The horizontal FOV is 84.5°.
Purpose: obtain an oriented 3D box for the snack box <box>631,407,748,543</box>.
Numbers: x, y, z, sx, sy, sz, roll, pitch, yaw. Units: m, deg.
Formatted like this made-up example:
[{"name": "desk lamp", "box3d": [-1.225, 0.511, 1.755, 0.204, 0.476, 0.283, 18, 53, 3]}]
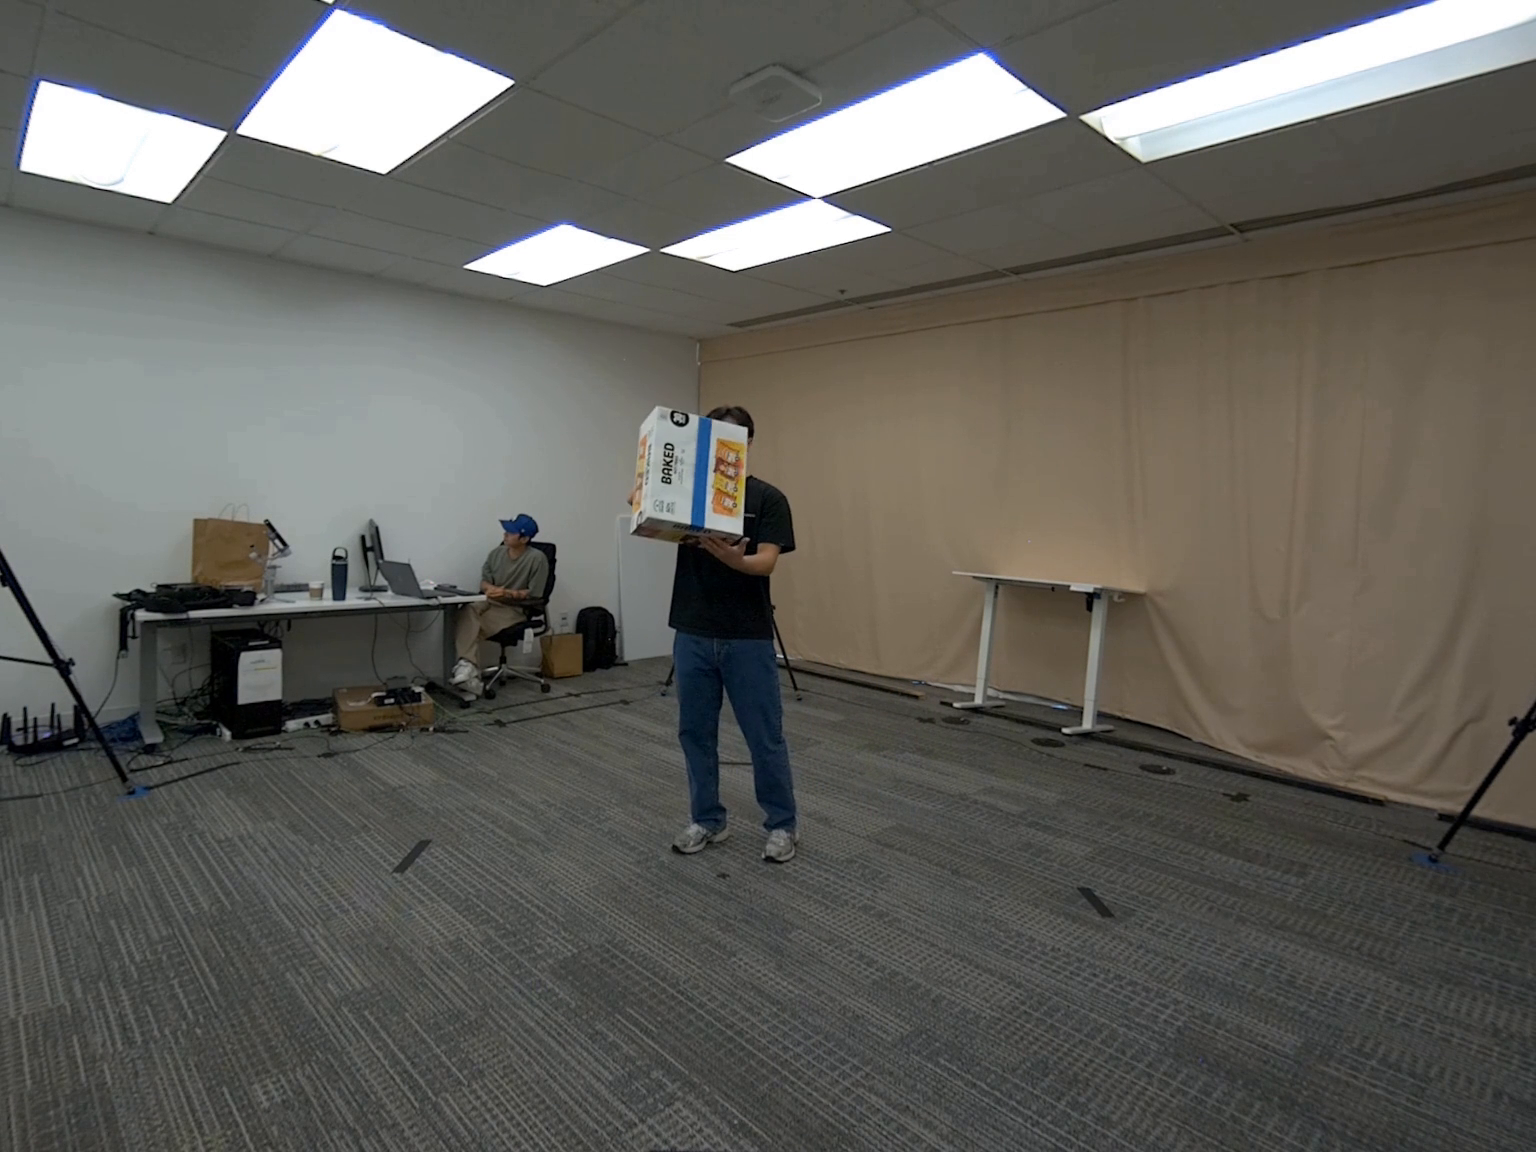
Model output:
[{"name": "snack box", "box3d": [-0.280, -0.328, 2.924, 0.334, 0.410, 0.207, 10, -19, -22]}]
